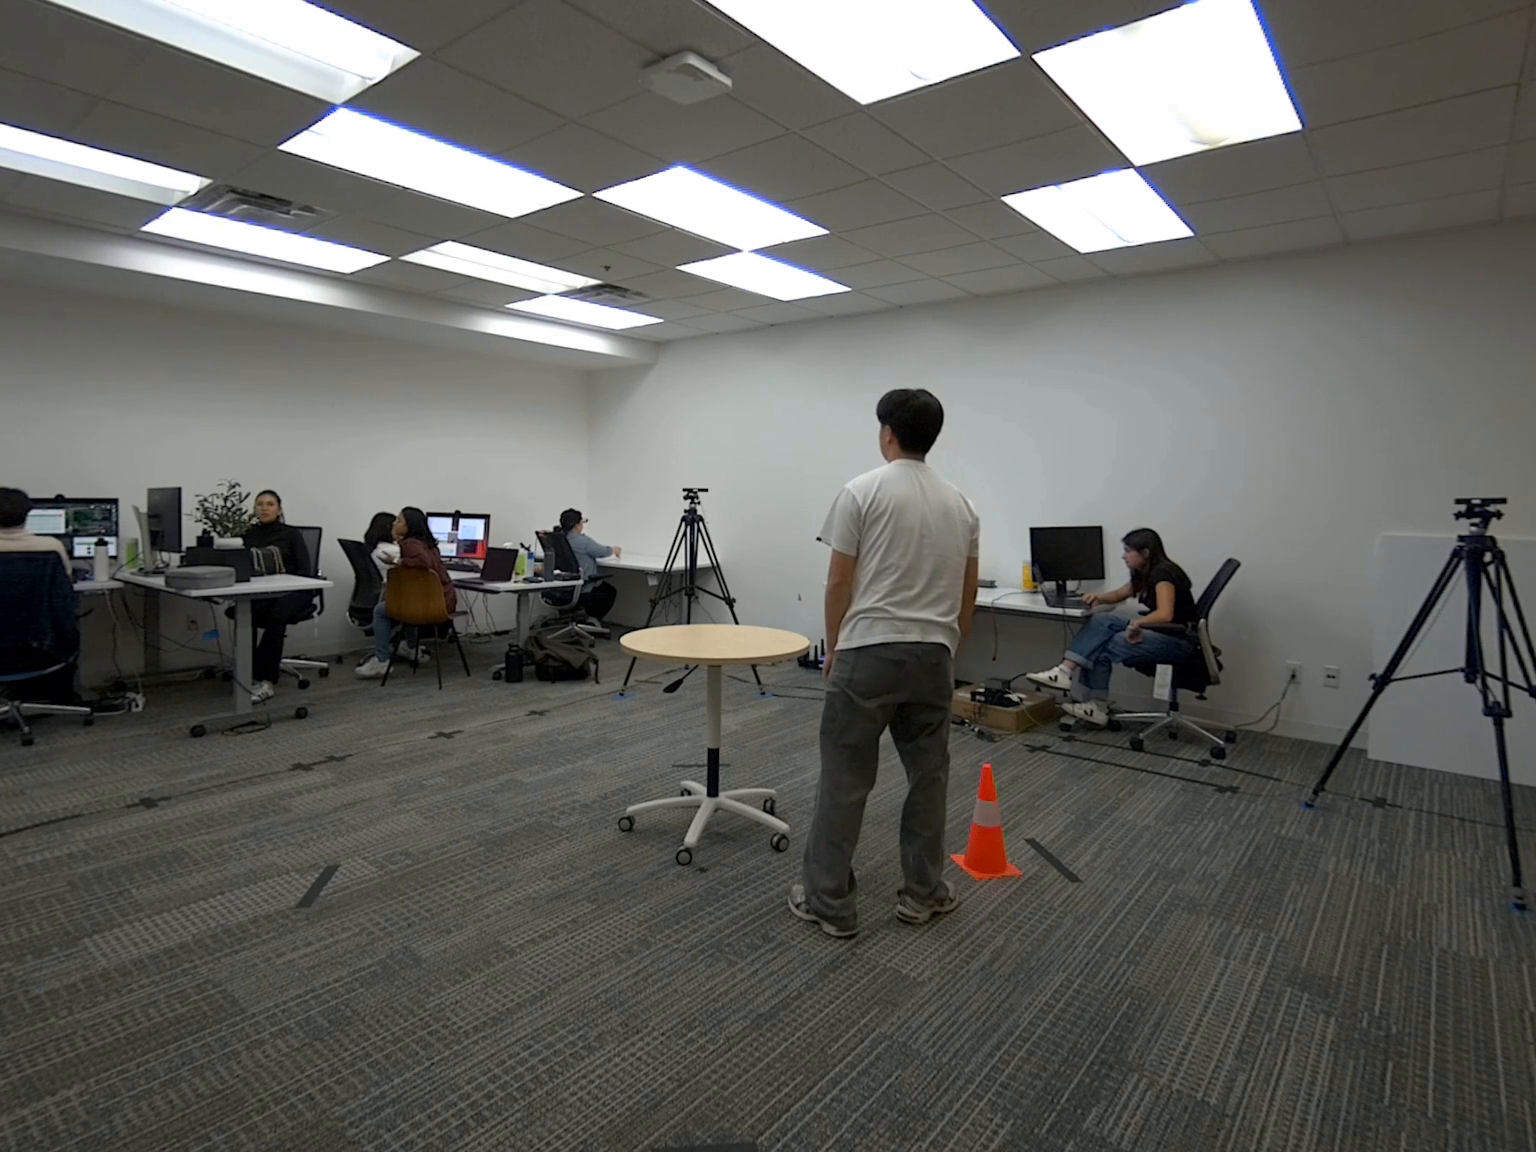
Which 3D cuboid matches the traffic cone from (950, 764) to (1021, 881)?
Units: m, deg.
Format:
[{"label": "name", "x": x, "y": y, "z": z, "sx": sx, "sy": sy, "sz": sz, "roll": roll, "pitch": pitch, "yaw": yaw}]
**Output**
[{"label": "traffic cone", "x": 0.833, "y": 0.892, "z": 3.192, "sx": 0.201, "sy": 0.382, "sz": 0.208, "roll": 1, "pitch": 5, "yaw": -17}]
